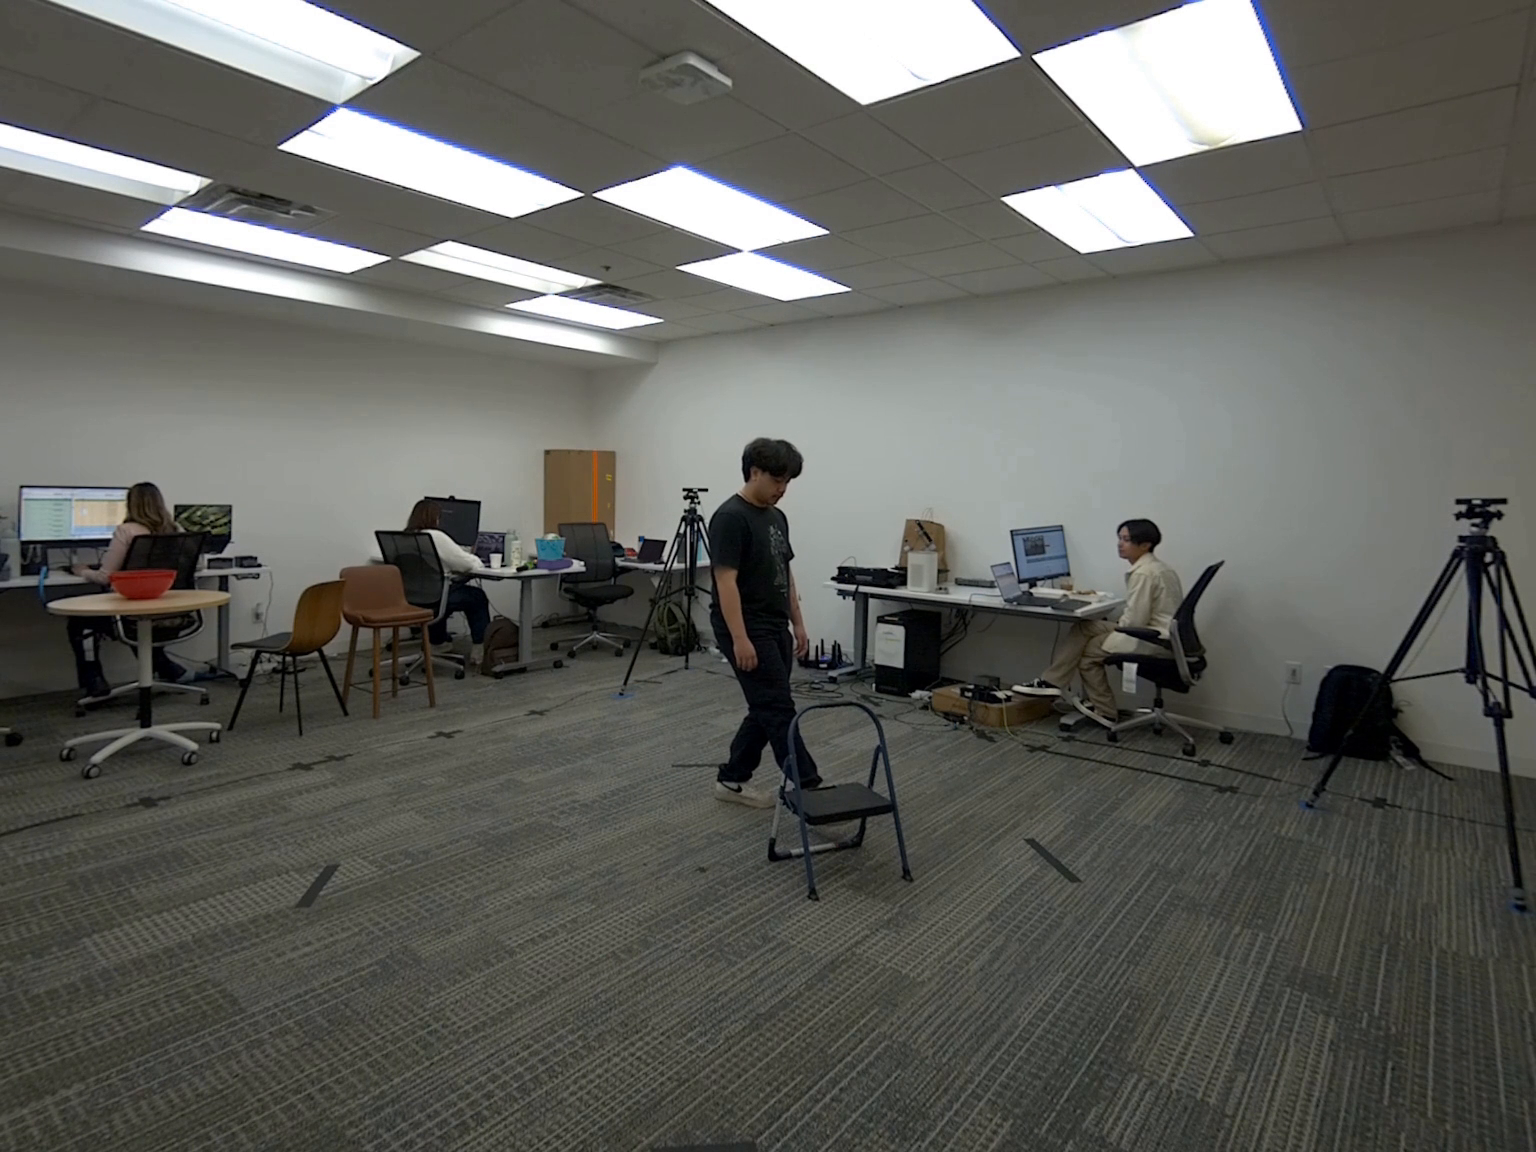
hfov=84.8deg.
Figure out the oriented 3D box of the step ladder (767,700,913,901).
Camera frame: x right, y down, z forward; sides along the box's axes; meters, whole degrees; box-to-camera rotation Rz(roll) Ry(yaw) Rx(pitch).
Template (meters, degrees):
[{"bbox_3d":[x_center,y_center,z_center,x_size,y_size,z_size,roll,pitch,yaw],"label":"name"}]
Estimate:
[{"bbox_3d":[0.257,0.773,3.118,0.420,0.604,0.359,0,3,-27],"label":"step ladder"}]
